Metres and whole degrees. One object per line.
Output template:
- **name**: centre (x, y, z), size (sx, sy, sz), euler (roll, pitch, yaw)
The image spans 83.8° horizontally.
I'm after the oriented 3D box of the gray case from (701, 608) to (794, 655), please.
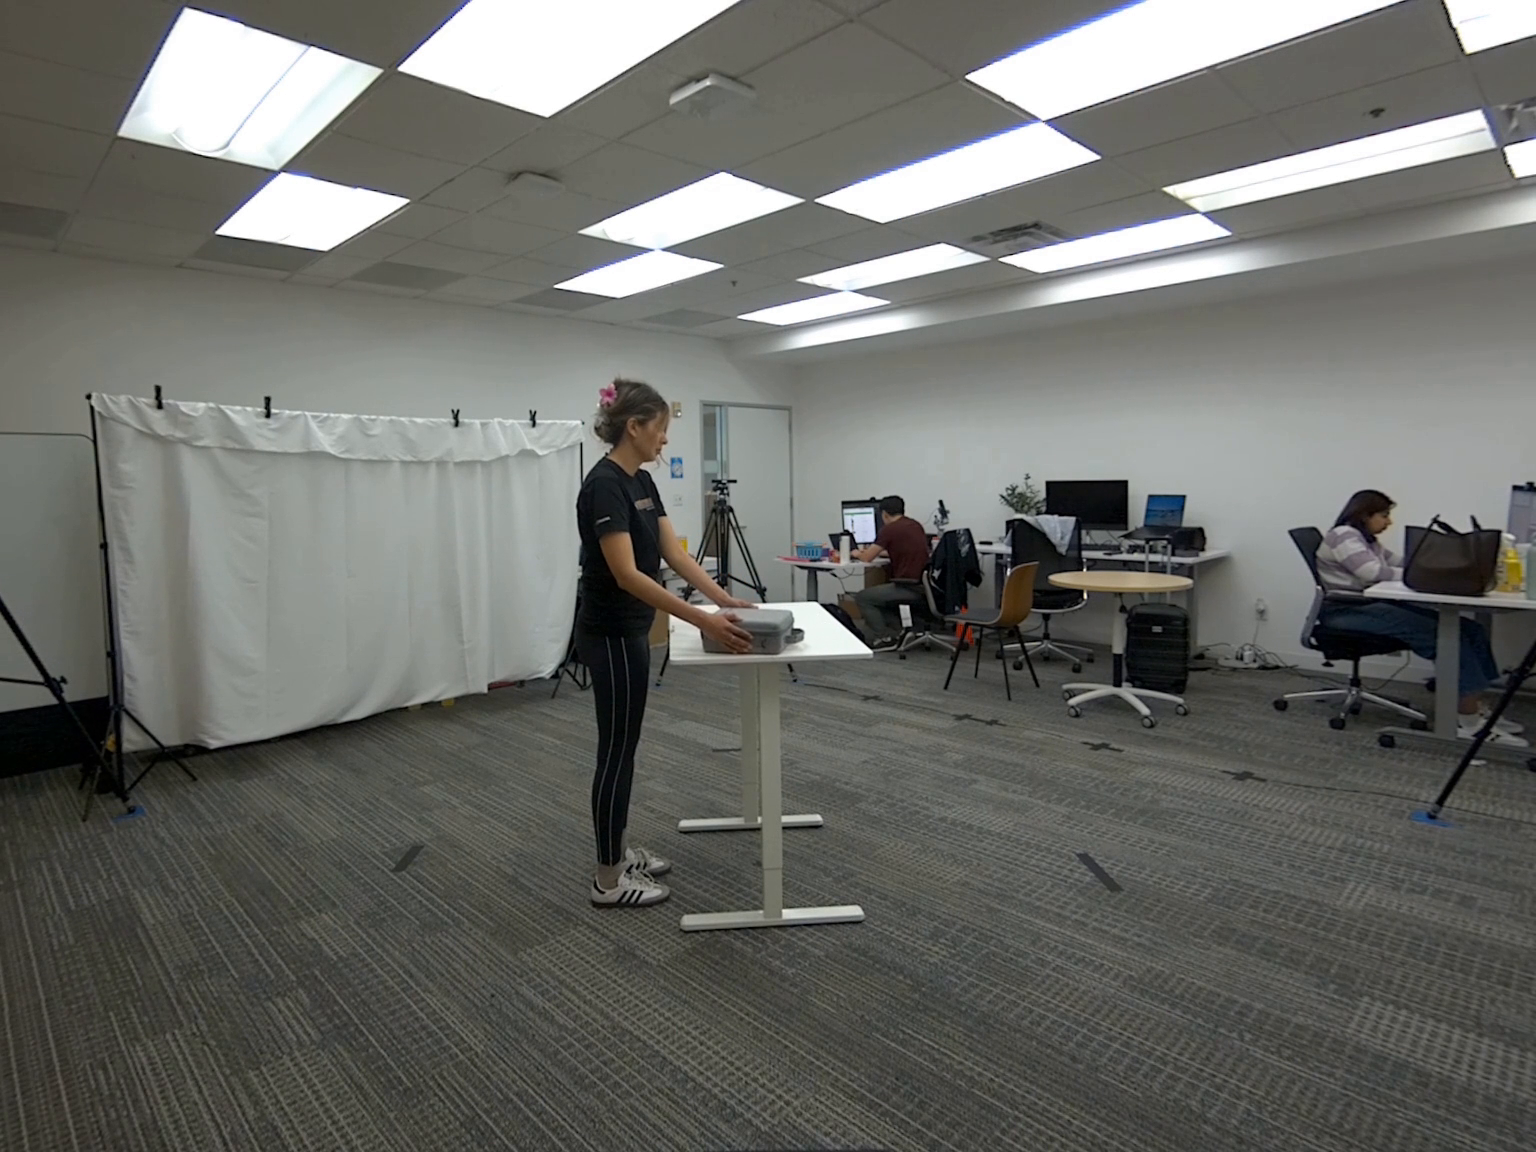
- **gray case**: centre (-0.050, 0.168, 2.659), size (0.264, 0.104, 0.254), euler (1, 6, 13)
